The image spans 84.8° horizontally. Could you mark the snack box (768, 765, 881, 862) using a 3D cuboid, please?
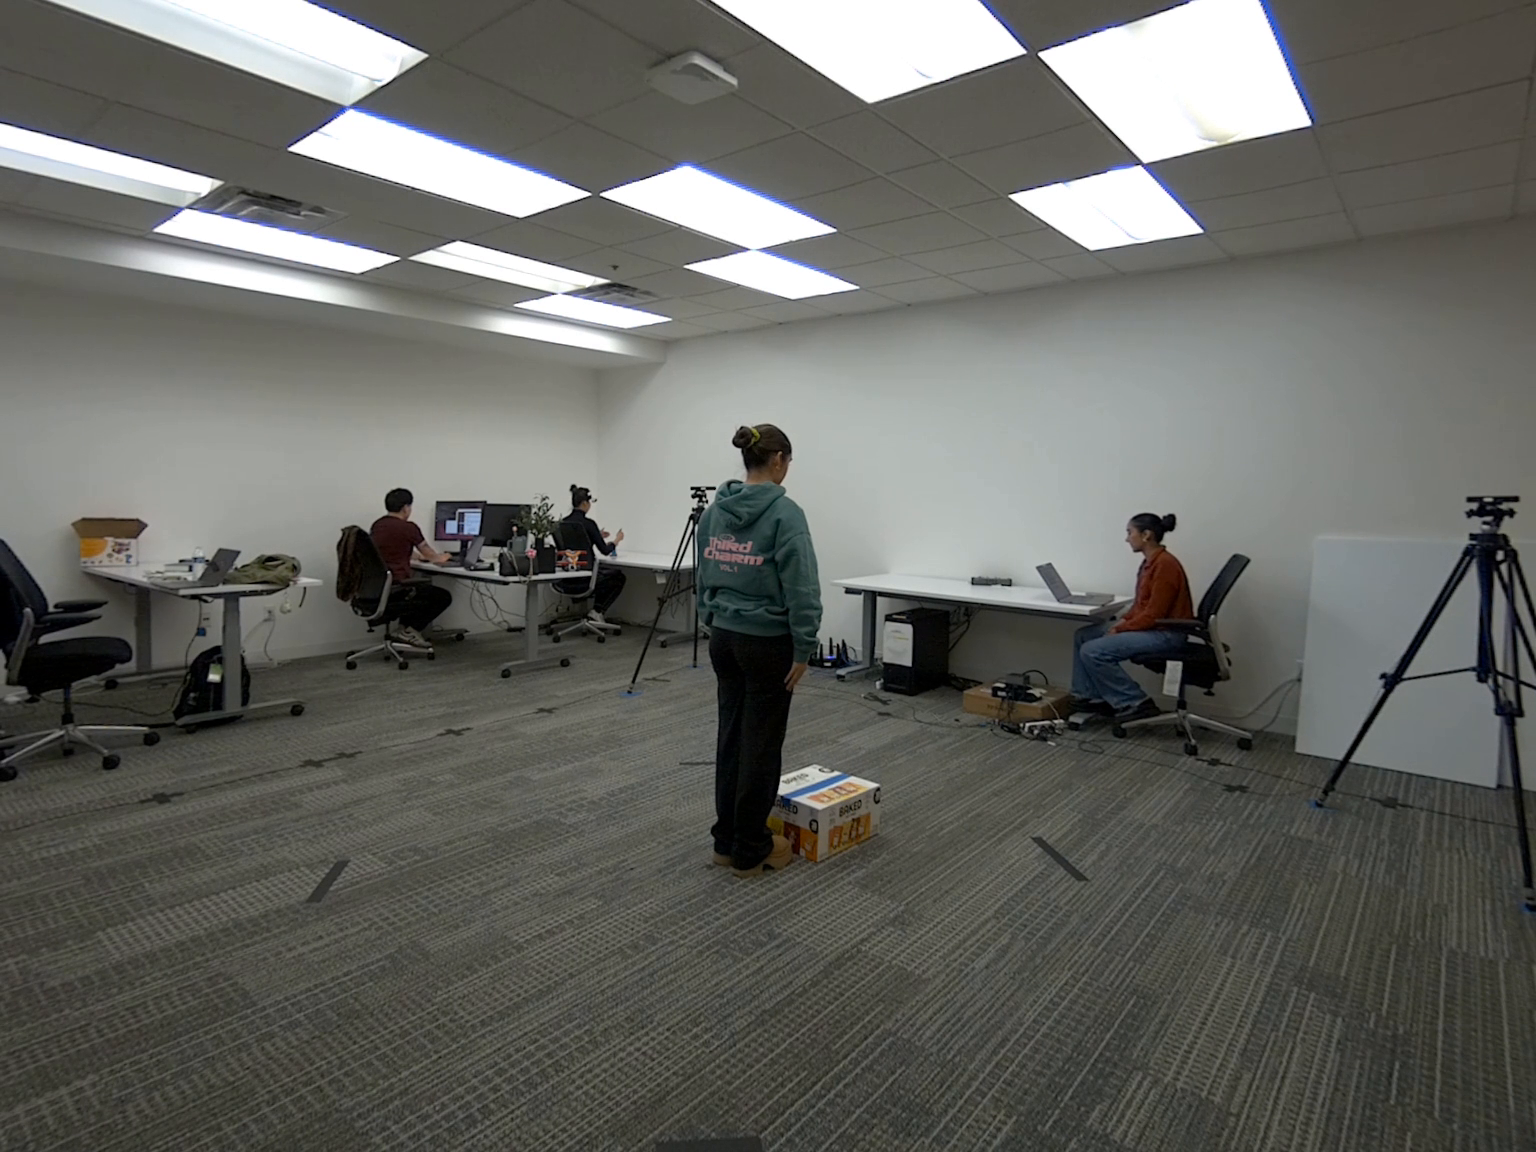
[{"bbox_3d":[0.190,0.941,3.426,0.352,0.205,0.393,6,7,43],"label":"snack box"}]
